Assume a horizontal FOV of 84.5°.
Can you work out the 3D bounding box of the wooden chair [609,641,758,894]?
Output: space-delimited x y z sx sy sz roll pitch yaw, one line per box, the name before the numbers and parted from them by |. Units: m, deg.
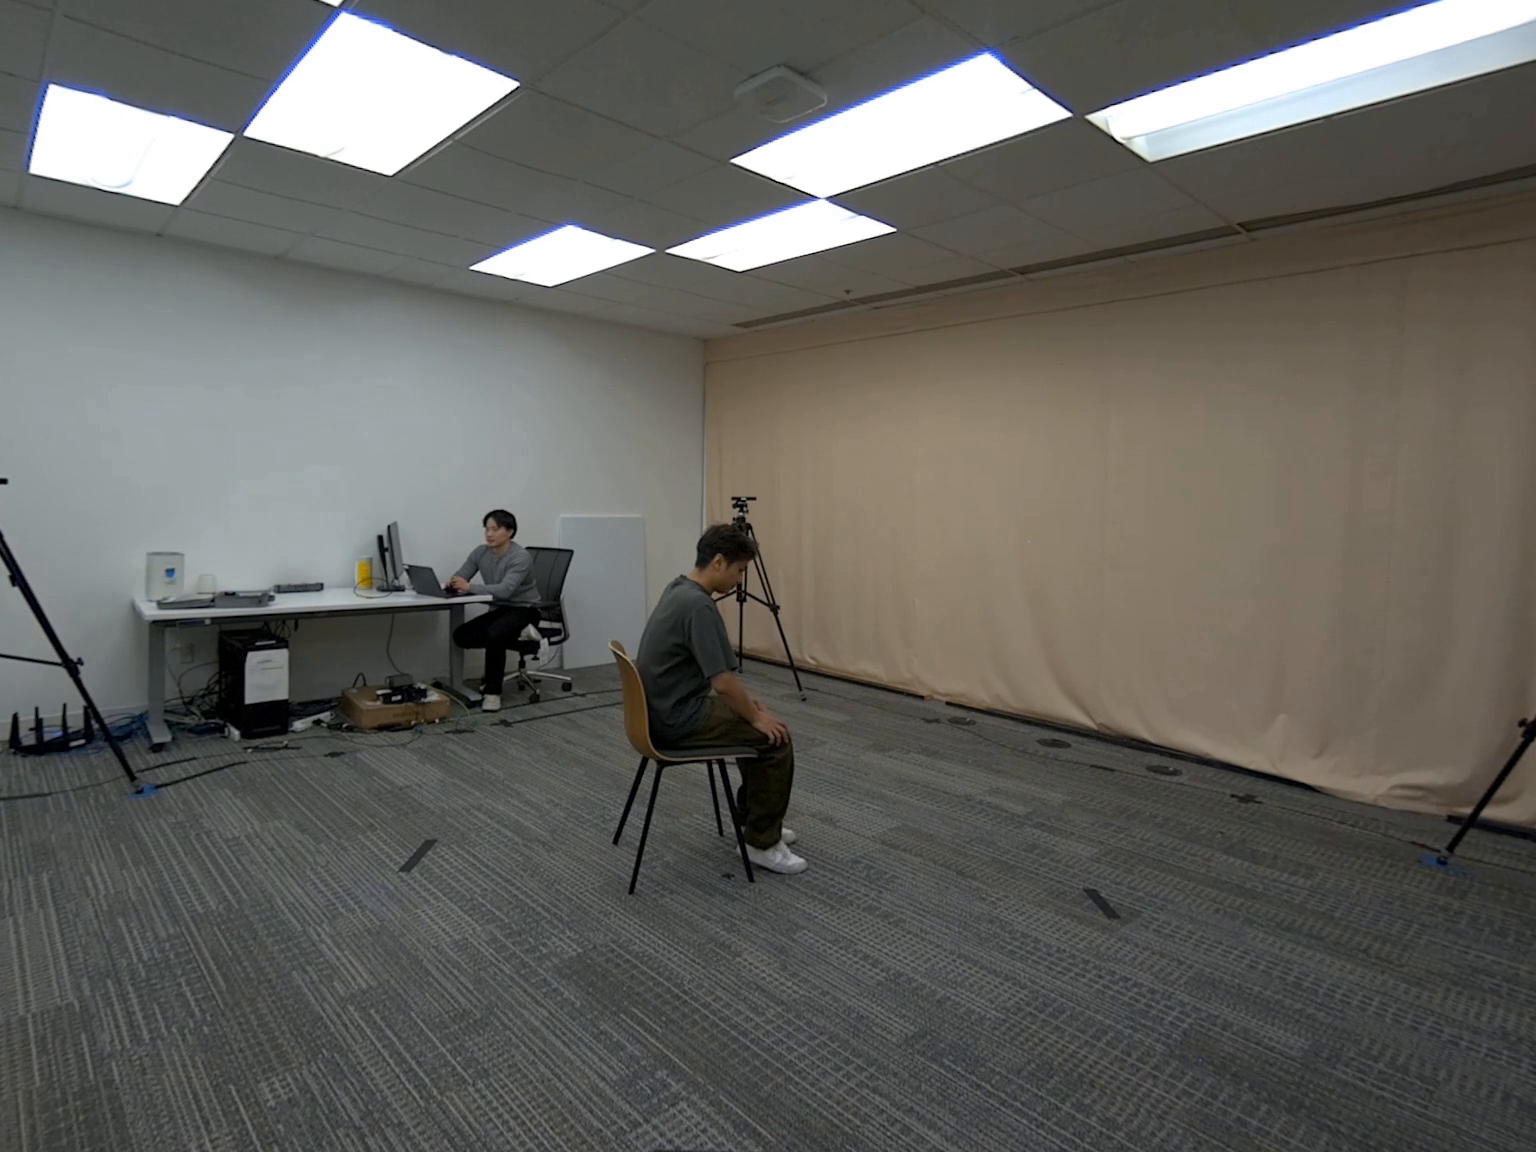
wooden chair | -0.325 0.664 3.183 0.517 0.875 0.485 -3 4 -16
